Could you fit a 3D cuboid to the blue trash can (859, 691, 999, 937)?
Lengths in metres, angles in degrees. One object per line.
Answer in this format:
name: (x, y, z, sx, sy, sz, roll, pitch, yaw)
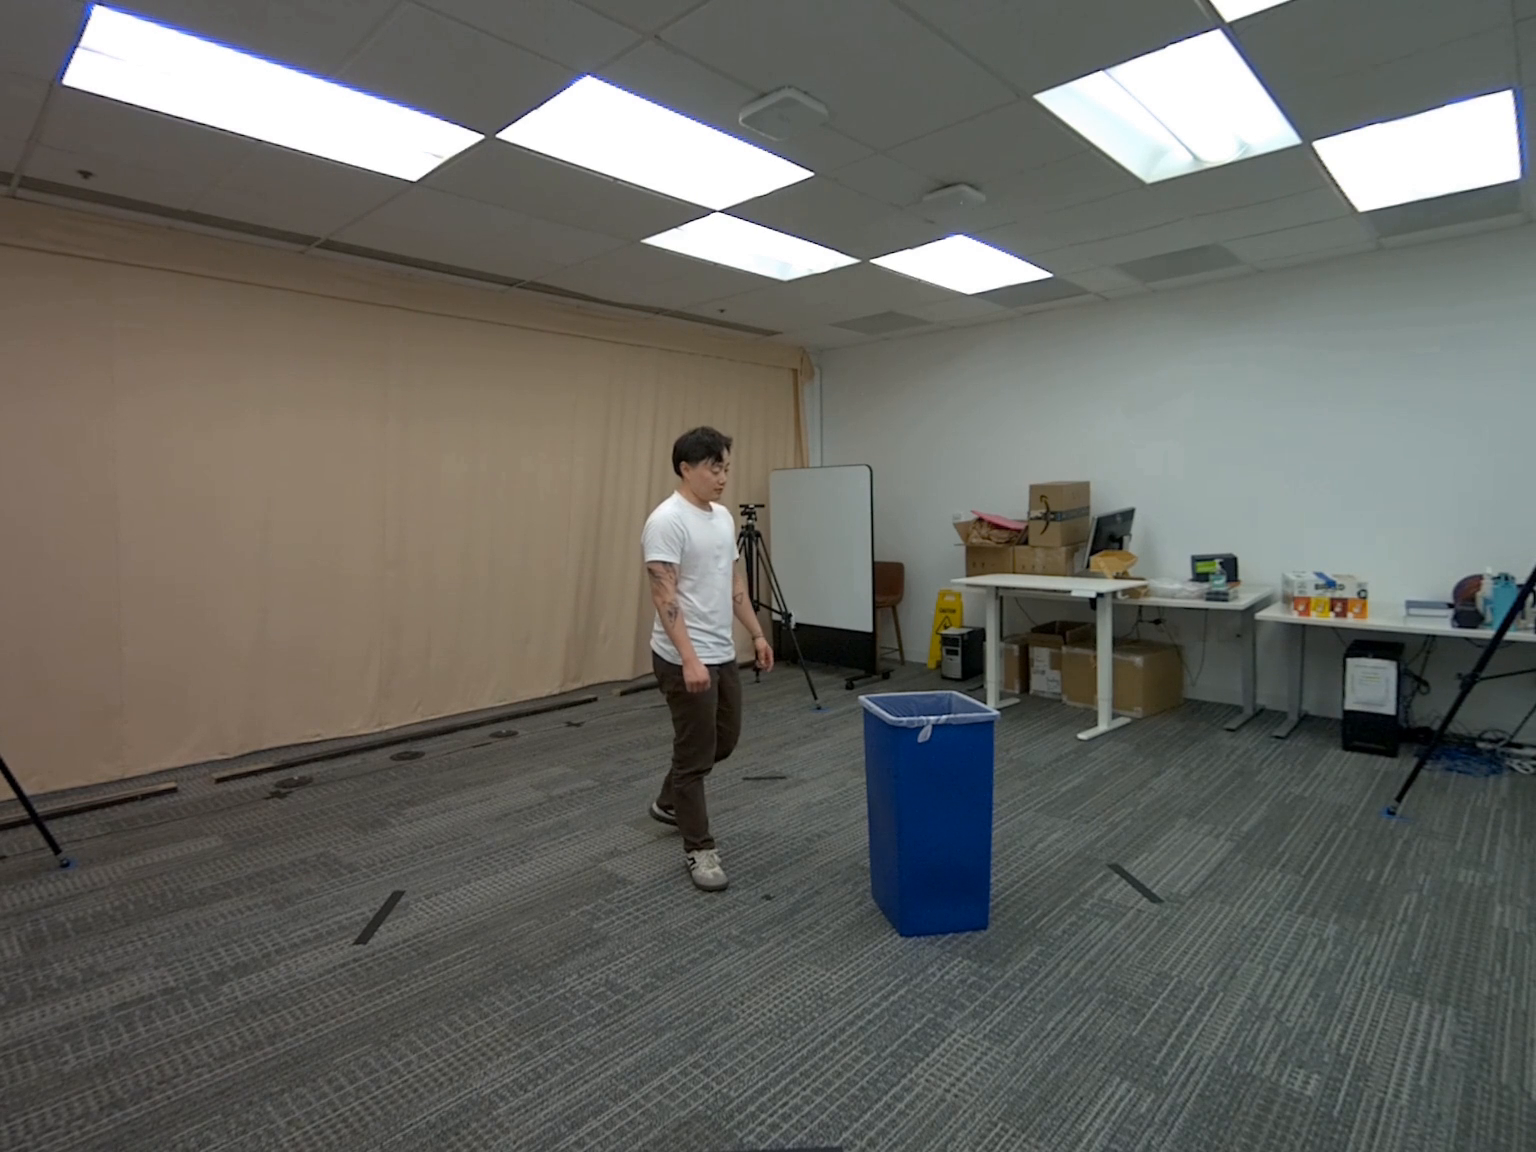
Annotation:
blue trash can: (0.549, 0.786, 2.840, 0.370, 0.712, 0.383, -2, 3, -11)
